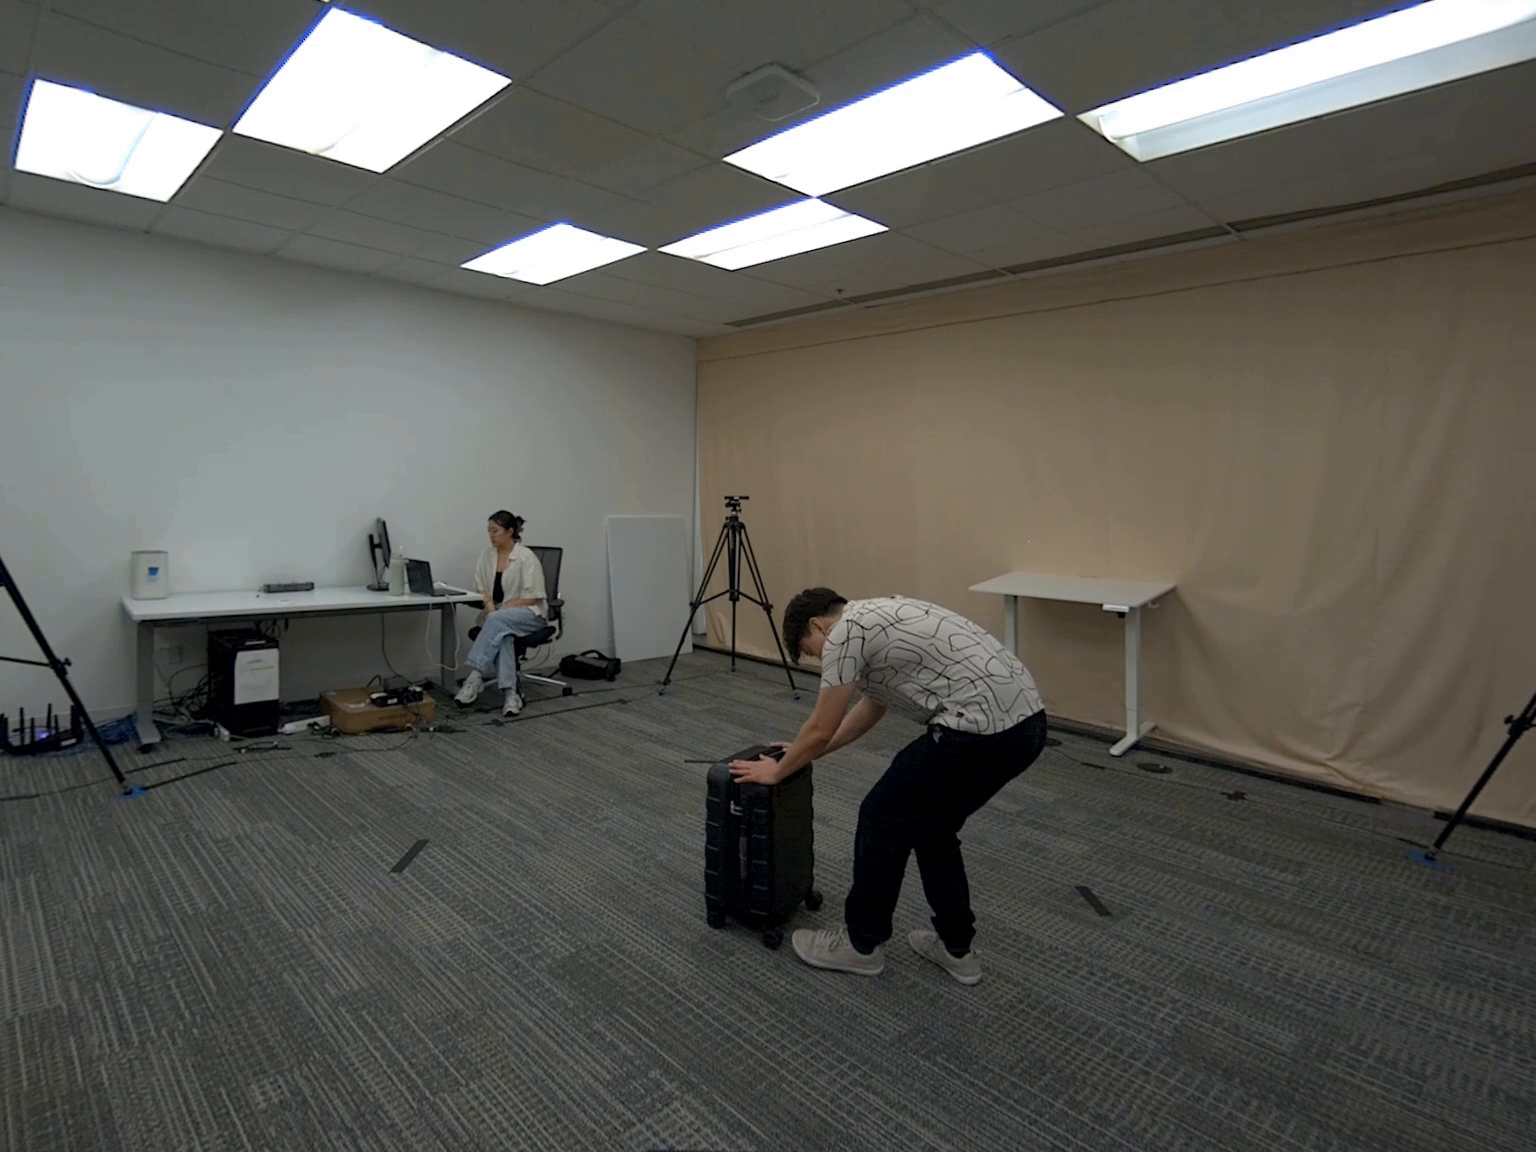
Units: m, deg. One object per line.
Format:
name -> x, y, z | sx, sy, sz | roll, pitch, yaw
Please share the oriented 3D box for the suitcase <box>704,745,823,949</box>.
suitcase -> -0.029, 0.860, 2.795 | 0.254, 0.548, 0.368 | 1, 3, 32
